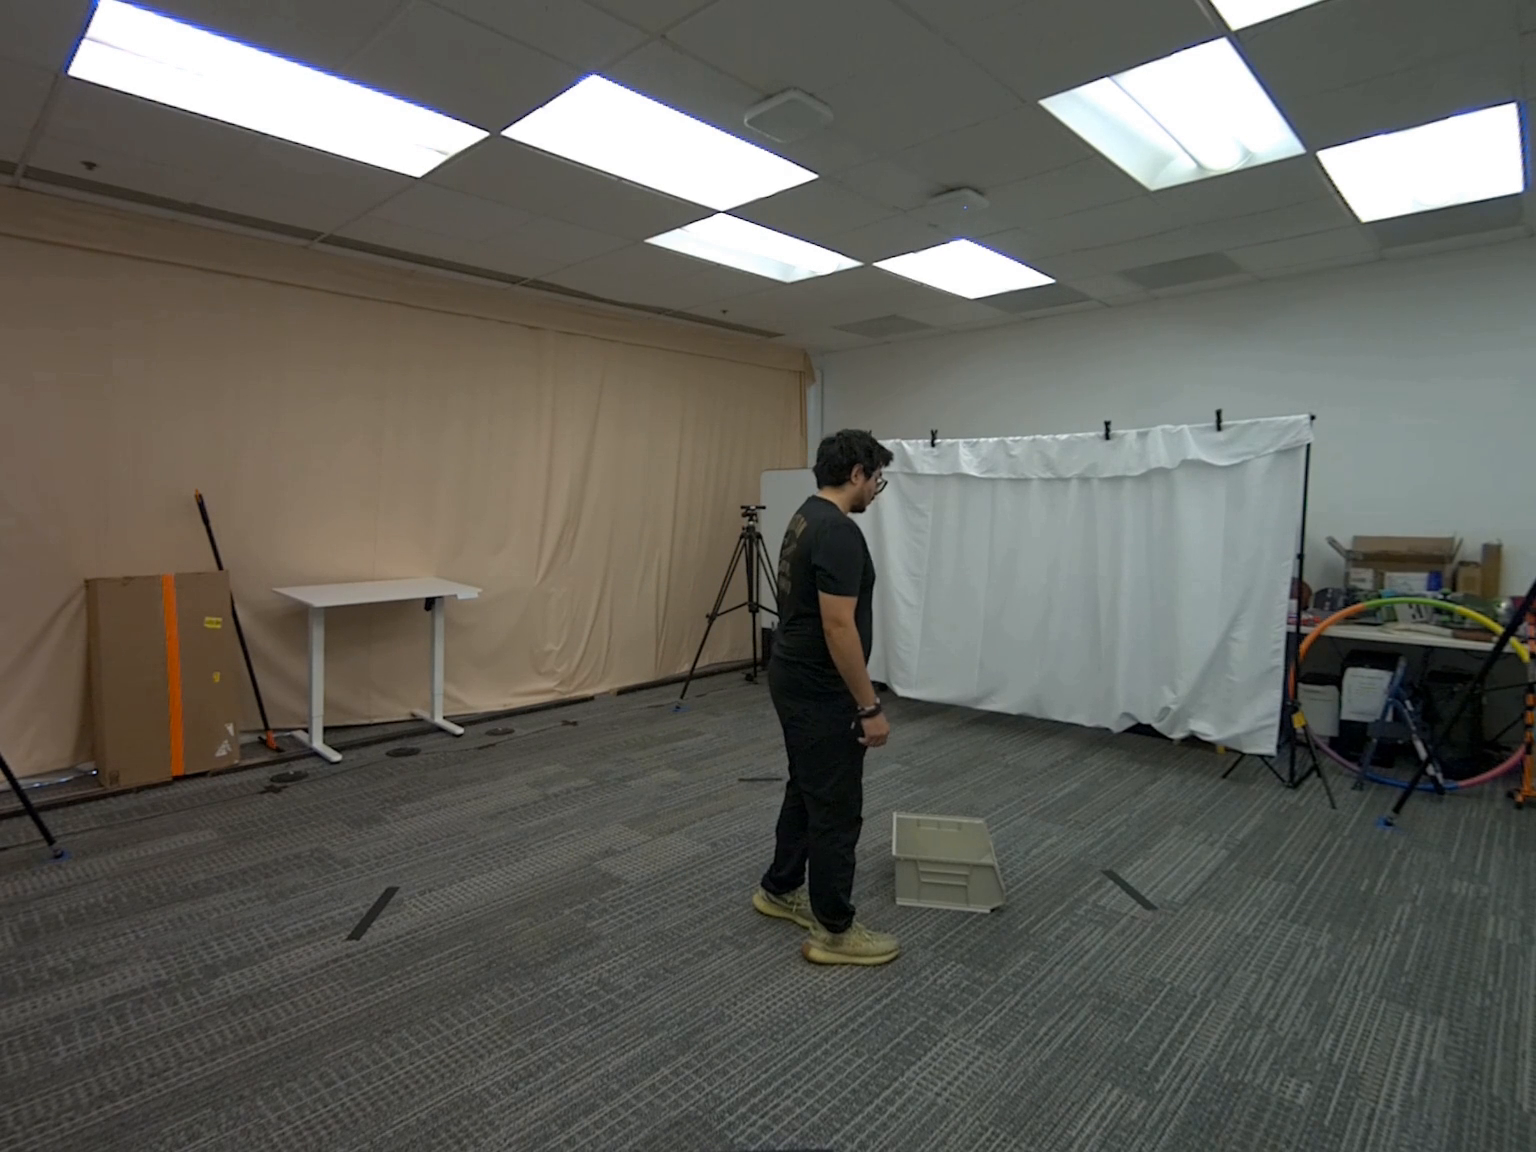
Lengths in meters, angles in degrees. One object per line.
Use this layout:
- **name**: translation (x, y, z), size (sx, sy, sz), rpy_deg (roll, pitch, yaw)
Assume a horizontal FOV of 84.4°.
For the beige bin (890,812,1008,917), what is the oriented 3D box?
- **beige bin**: translation (0.656, 1.043, 3.093), size (0.382, 0.188, 0.418), rpy_deg (0, 5, 10)
